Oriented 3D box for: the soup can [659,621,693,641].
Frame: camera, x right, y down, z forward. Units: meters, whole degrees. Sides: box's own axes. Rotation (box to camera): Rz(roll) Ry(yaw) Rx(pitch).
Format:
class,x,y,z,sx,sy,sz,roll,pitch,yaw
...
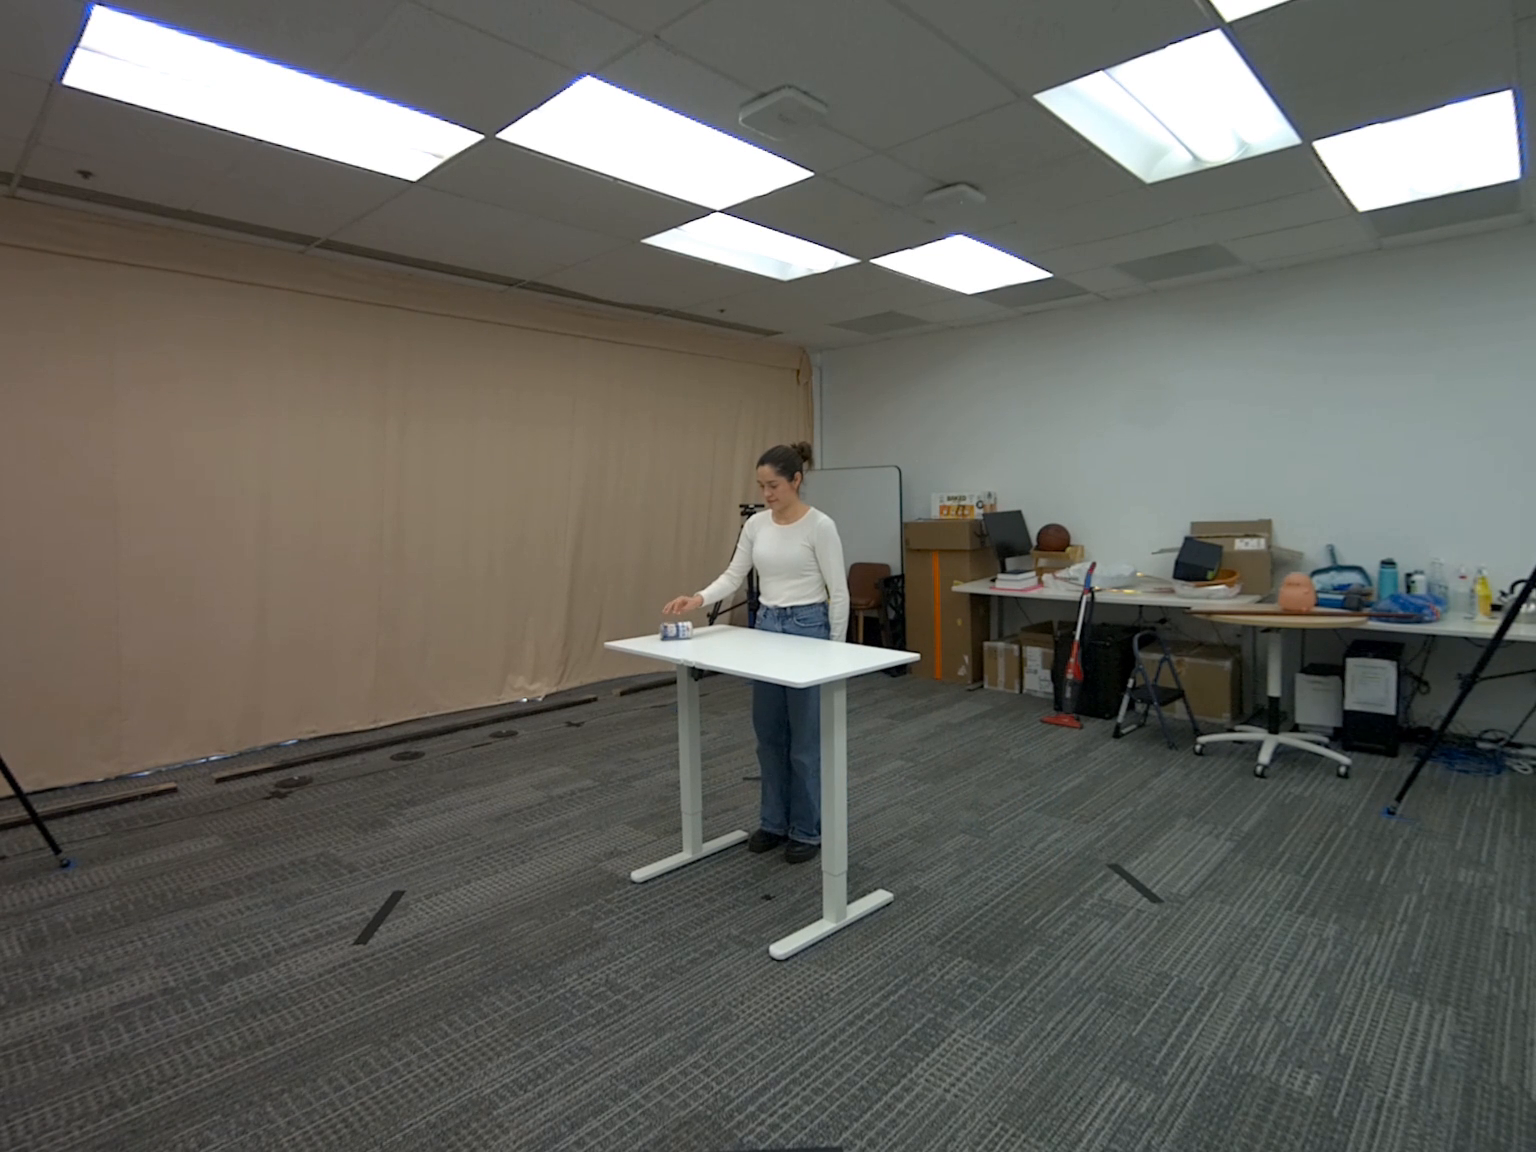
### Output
class,x,y,z,sx,sy,sz,roll,pitch,yaw
soup can,-0.352,0.209,3.210,0.121,0.067,0.067,-4,4,-5
